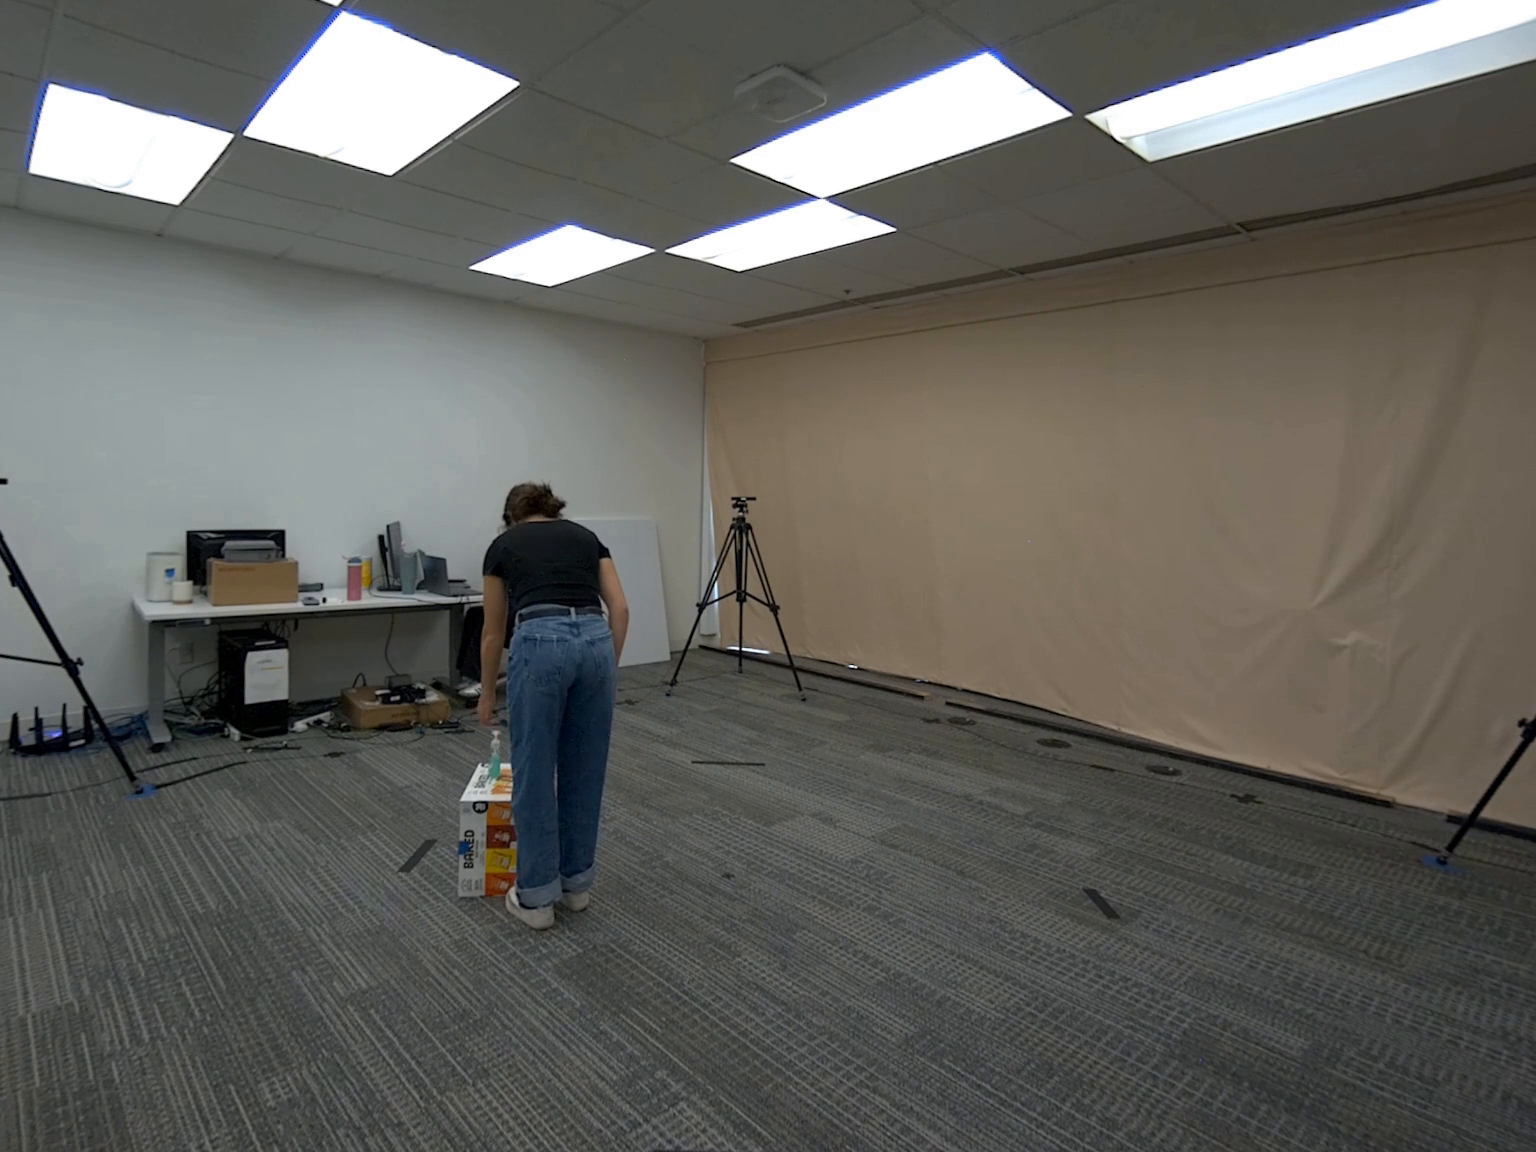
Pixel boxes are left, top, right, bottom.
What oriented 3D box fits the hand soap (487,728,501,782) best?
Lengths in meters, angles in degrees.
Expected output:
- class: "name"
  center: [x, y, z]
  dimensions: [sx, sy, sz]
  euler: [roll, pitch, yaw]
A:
- class: "hand soap"
  center: [-1.018, 0.659, 3.130]
  dimensions: [0.042, 0.168, 0.086]
  euler: [2, 2, -28]
